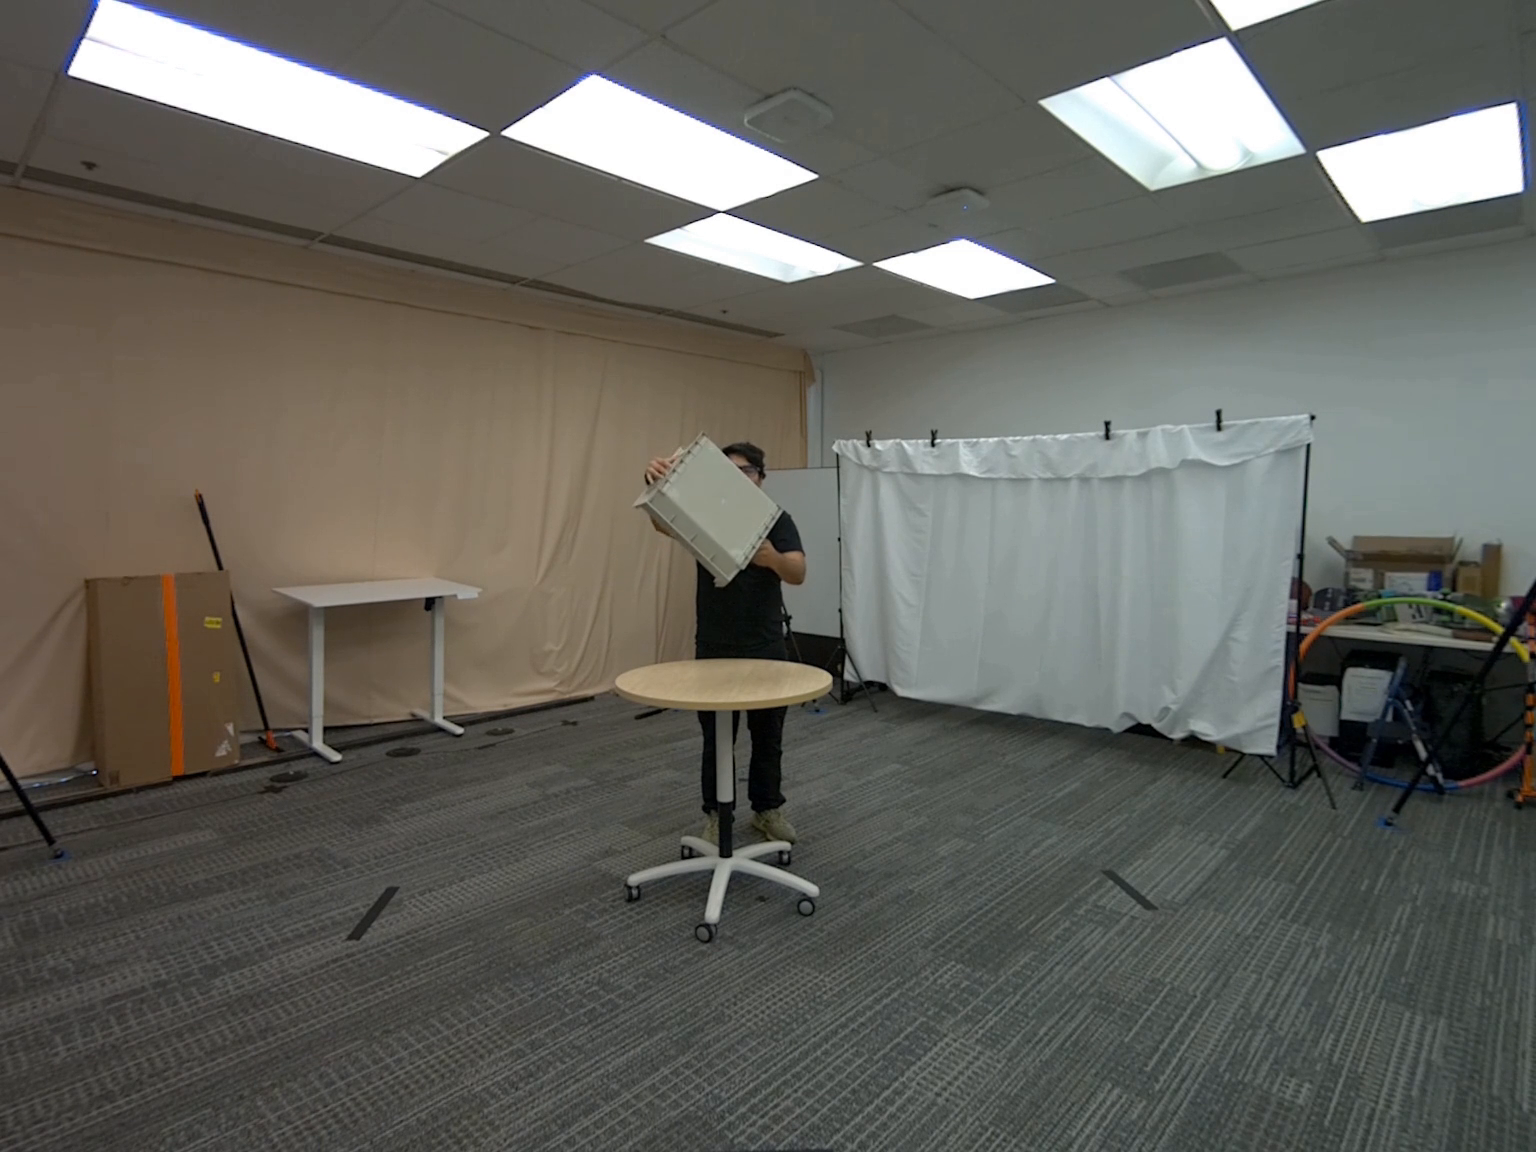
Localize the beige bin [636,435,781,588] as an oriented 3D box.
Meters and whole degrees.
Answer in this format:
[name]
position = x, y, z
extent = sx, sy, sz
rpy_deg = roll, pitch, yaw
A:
[beige bin]
position = -0.215, -0.228, 3.012
extent = 0.416, 0.376, 0.192
rpy_deg = 42, -34, -12
